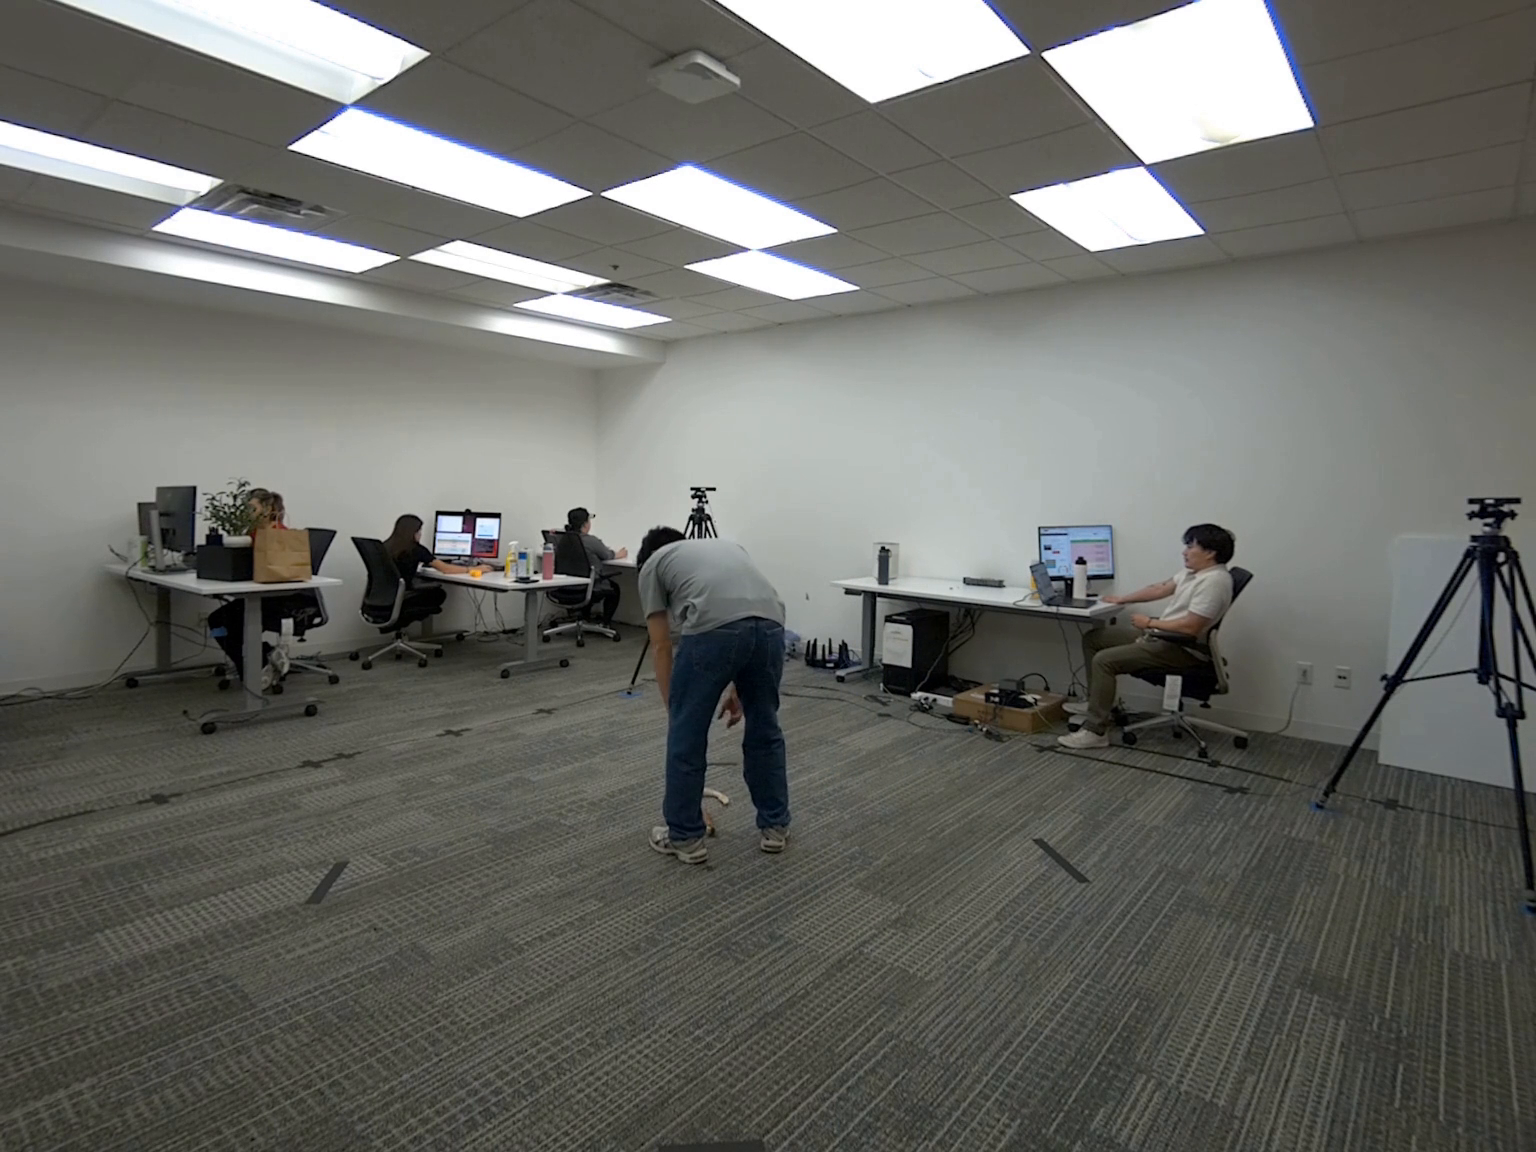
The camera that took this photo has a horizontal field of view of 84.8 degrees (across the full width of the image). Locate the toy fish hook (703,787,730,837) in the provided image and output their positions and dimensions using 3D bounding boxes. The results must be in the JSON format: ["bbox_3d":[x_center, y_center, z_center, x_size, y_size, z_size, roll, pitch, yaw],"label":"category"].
[{"bbox_3d":[-0.260,0.987,3.635,0.221,0.048,0.517,-2,7,-16],"label":"toy fish hook"}]
